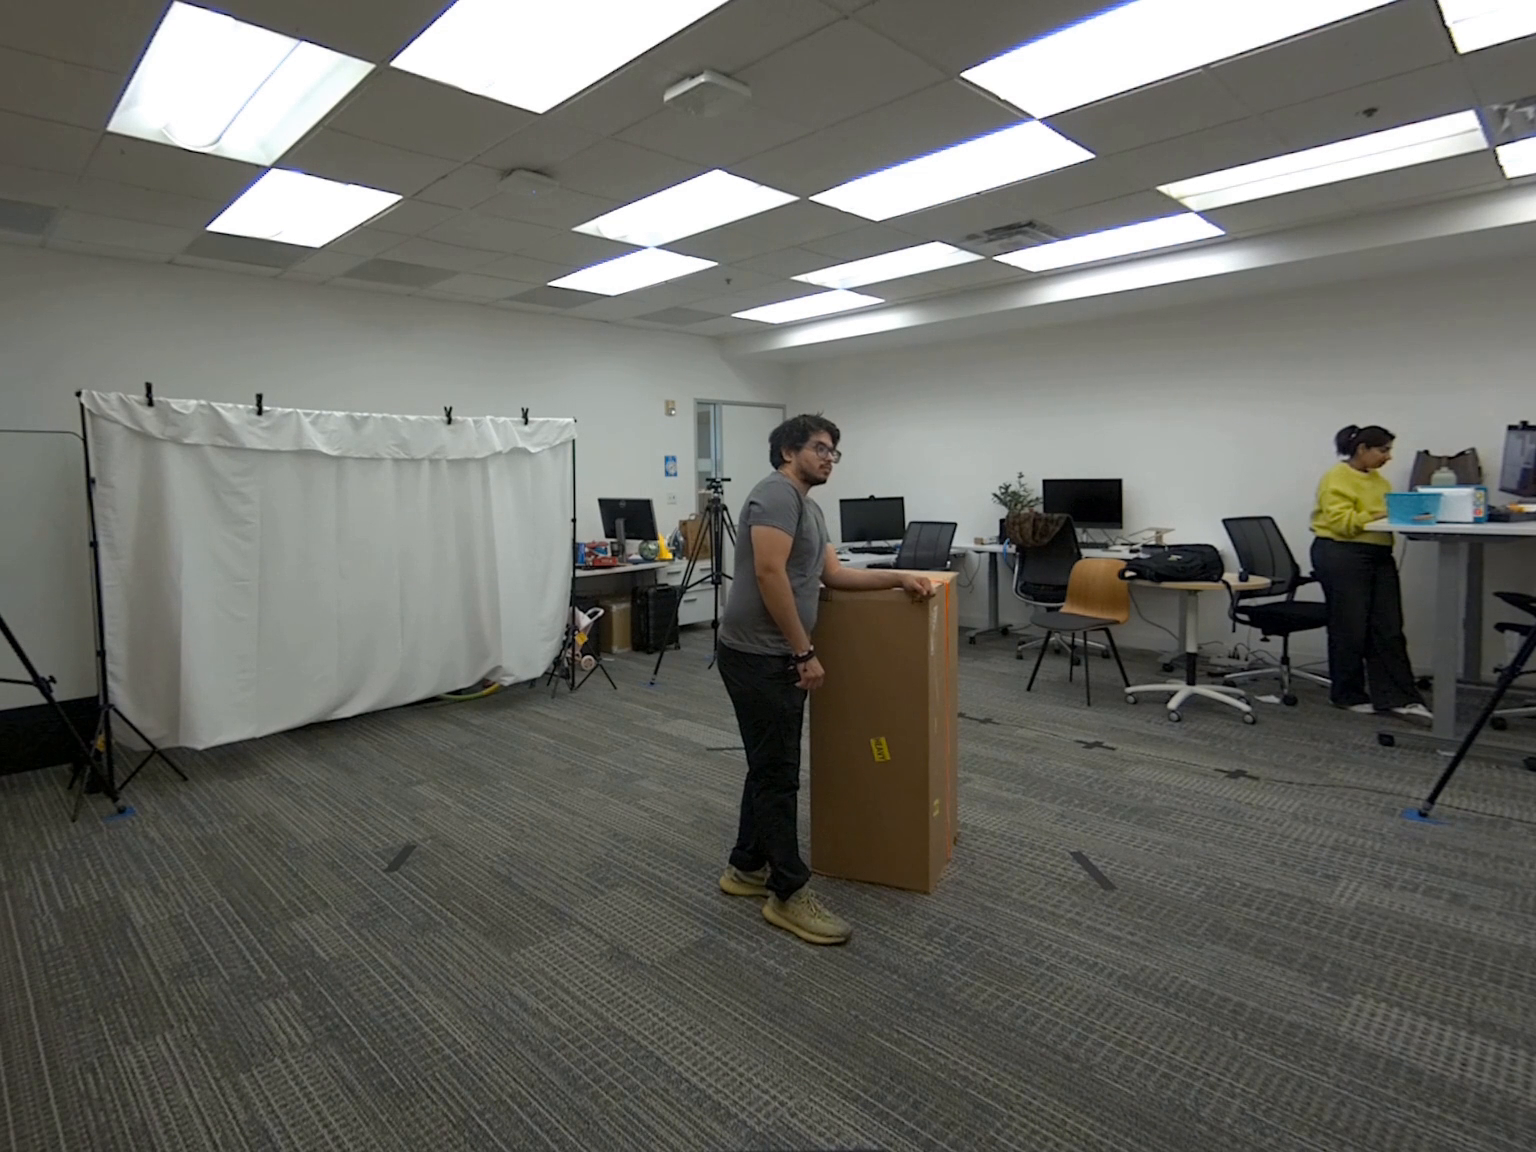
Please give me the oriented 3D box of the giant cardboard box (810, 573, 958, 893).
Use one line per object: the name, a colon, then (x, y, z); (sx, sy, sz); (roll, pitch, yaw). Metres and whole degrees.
giant cardboard box: (0.450, 0.520, 3.163); (0.436, 1.022, 0.567); (1, 5, 24)
